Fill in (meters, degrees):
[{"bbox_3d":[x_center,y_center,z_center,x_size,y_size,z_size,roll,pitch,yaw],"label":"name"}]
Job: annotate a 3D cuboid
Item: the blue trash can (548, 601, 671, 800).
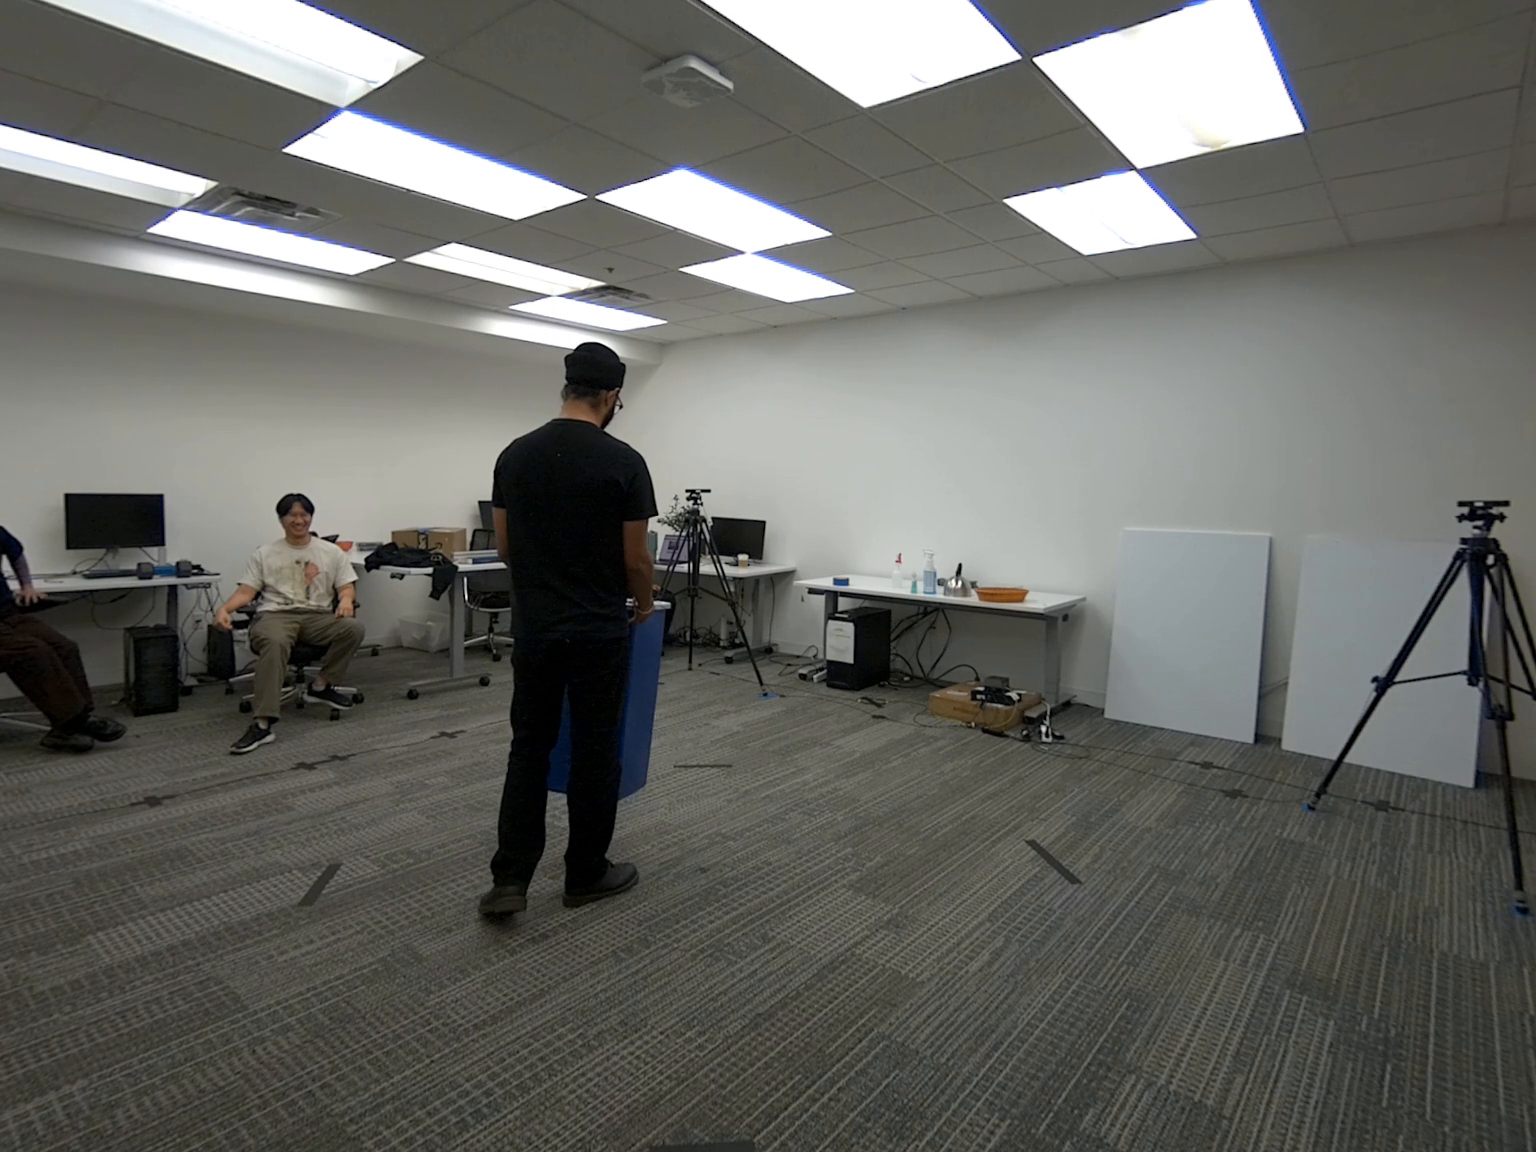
[{"bbox_3d":[-0.636,0.446,3.234,0.385,0.715,0.366,4,-2,15],"label":"blue trash can"}]
